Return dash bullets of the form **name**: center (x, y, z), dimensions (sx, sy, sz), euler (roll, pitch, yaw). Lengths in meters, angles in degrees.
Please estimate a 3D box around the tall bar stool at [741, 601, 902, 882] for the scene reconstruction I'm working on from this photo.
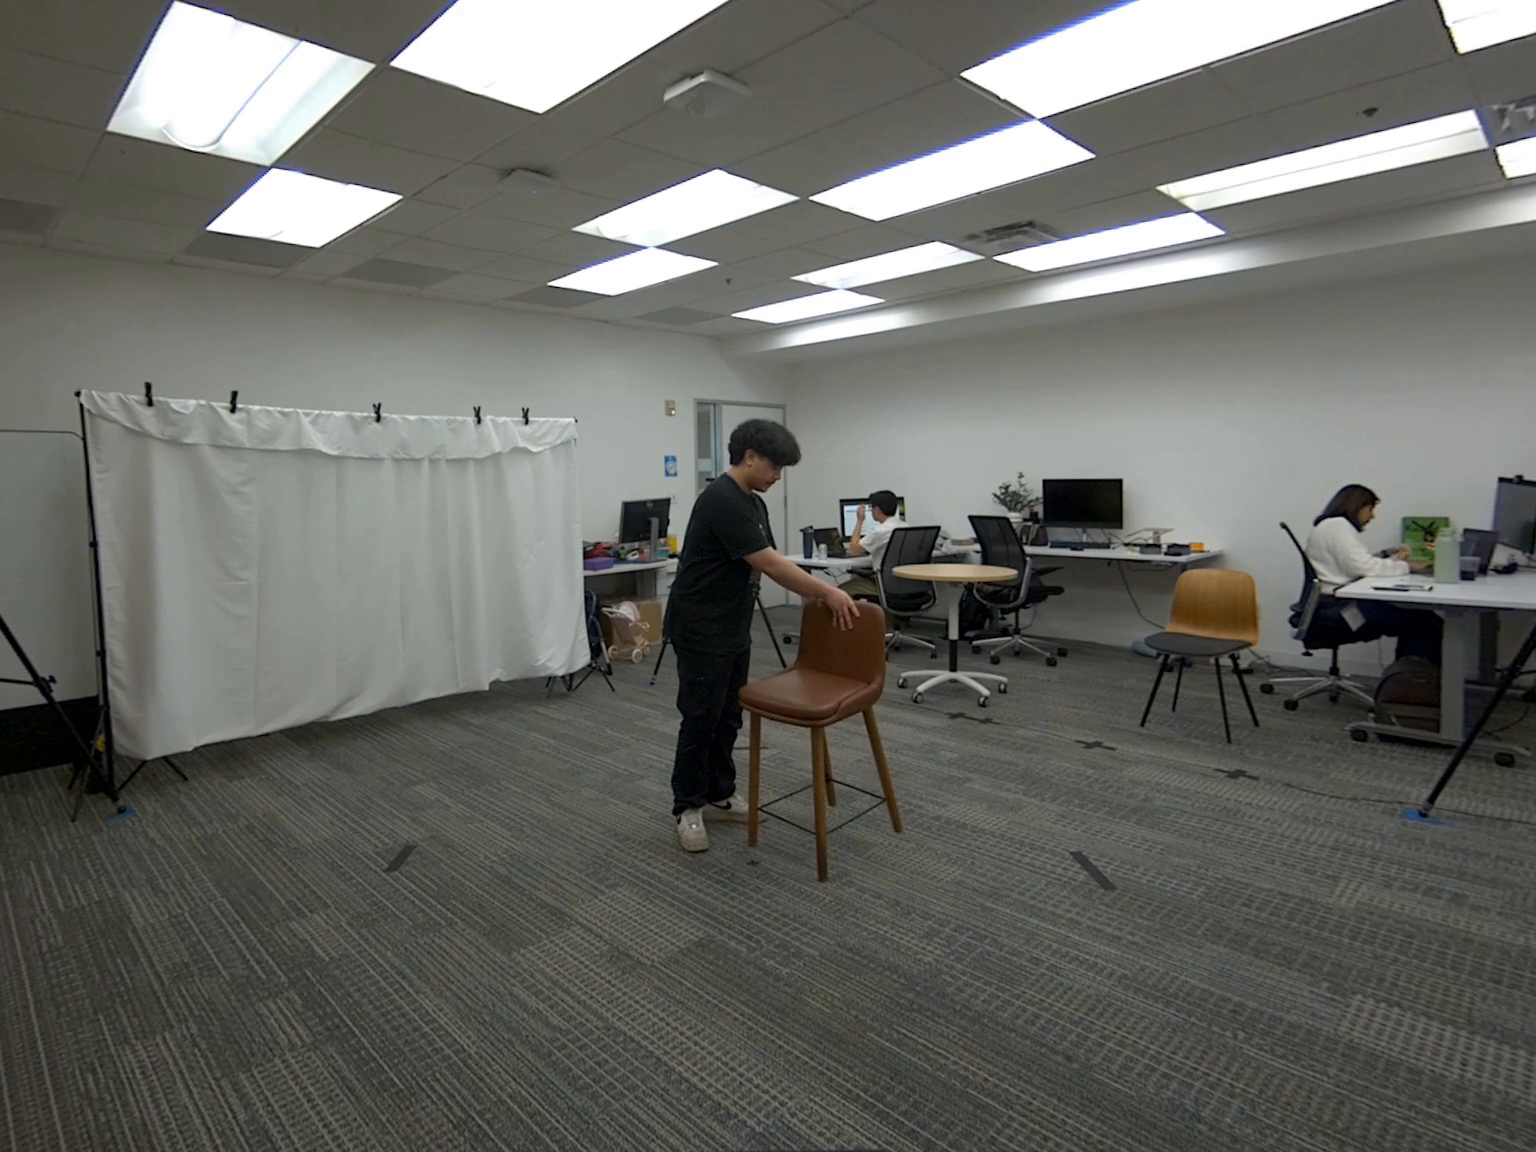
- **tall bar stool**: center (0.188, 0.570, 3.180), dimensions (0.457, 0.884, 0.470), euler (-10, 9, -39)
